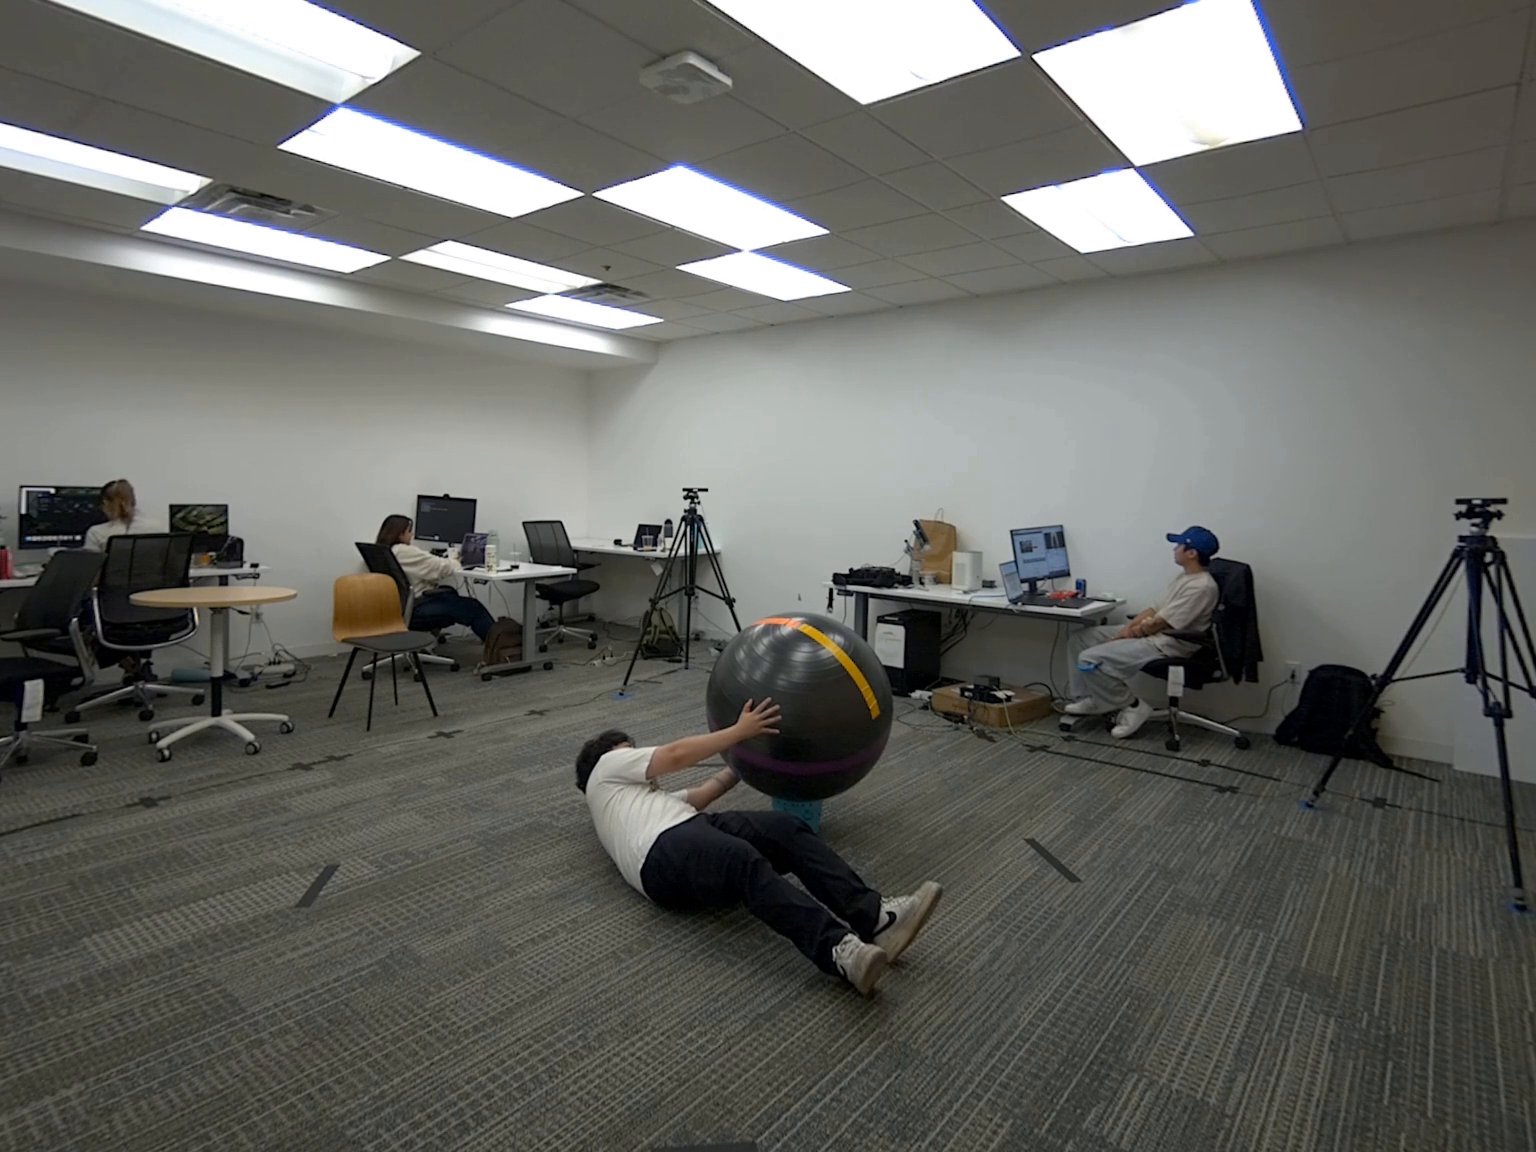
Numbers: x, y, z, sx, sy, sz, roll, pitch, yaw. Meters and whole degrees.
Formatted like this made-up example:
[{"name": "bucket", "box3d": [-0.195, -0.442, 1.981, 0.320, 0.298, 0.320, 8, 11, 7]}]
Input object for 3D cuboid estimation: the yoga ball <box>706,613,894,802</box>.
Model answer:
[{"name": "yoga ball", "box3d": [0.123, 0.523, 3.481, 0.757, 0.756, 0.761, 1, 4, -2]}]
